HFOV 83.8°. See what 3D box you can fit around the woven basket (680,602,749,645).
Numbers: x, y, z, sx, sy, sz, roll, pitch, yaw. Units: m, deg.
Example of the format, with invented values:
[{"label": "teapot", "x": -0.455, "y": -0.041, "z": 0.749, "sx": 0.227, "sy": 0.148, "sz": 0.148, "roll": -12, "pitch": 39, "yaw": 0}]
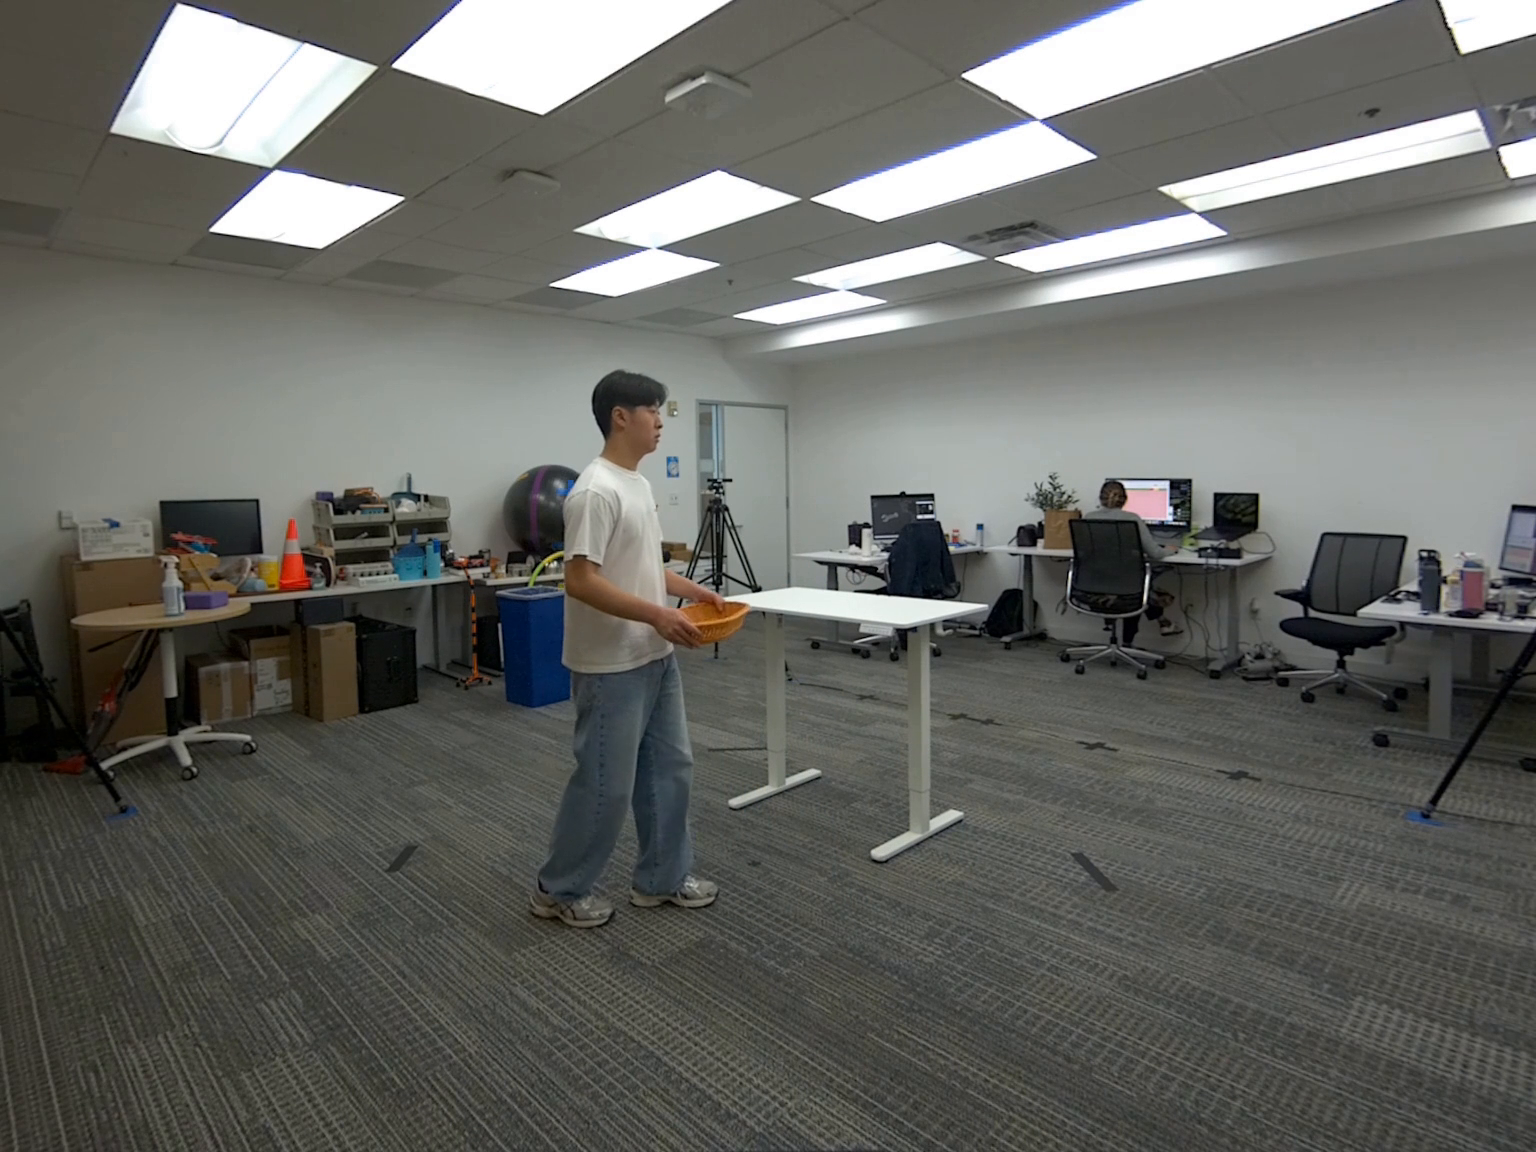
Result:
[{"label": "woven basket", "x": -0.182, "y": 0.136, "z": 2.647, "sx": 0.250, "sy": 0.073, "sz": 0.356, "roll": -7, "pitch": 8, "yaw": -12}]
